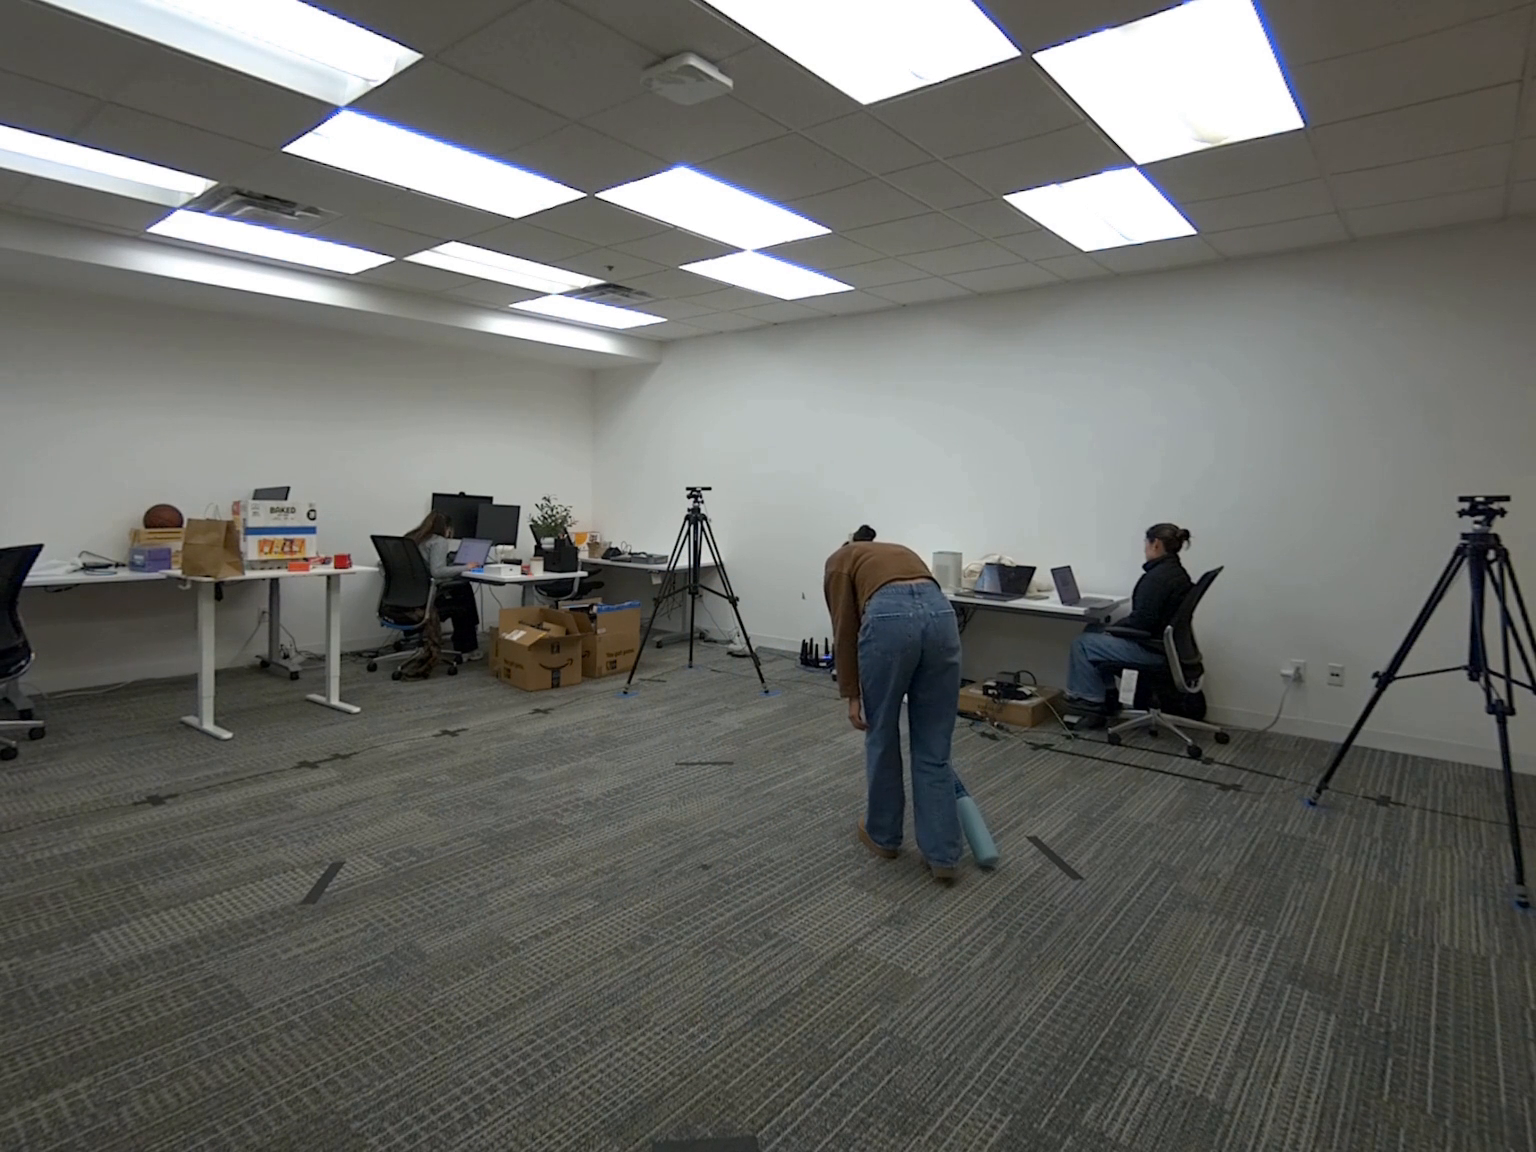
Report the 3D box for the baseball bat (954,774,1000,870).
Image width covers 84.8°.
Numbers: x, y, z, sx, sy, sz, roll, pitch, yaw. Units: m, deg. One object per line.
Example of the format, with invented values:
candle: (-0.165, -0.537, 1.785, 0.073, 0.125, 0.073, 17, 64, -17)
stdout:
baseball bat: (0.748, 0.859, 3.318, 0.088, 0.563, 0.086, -10, -39, -10)
